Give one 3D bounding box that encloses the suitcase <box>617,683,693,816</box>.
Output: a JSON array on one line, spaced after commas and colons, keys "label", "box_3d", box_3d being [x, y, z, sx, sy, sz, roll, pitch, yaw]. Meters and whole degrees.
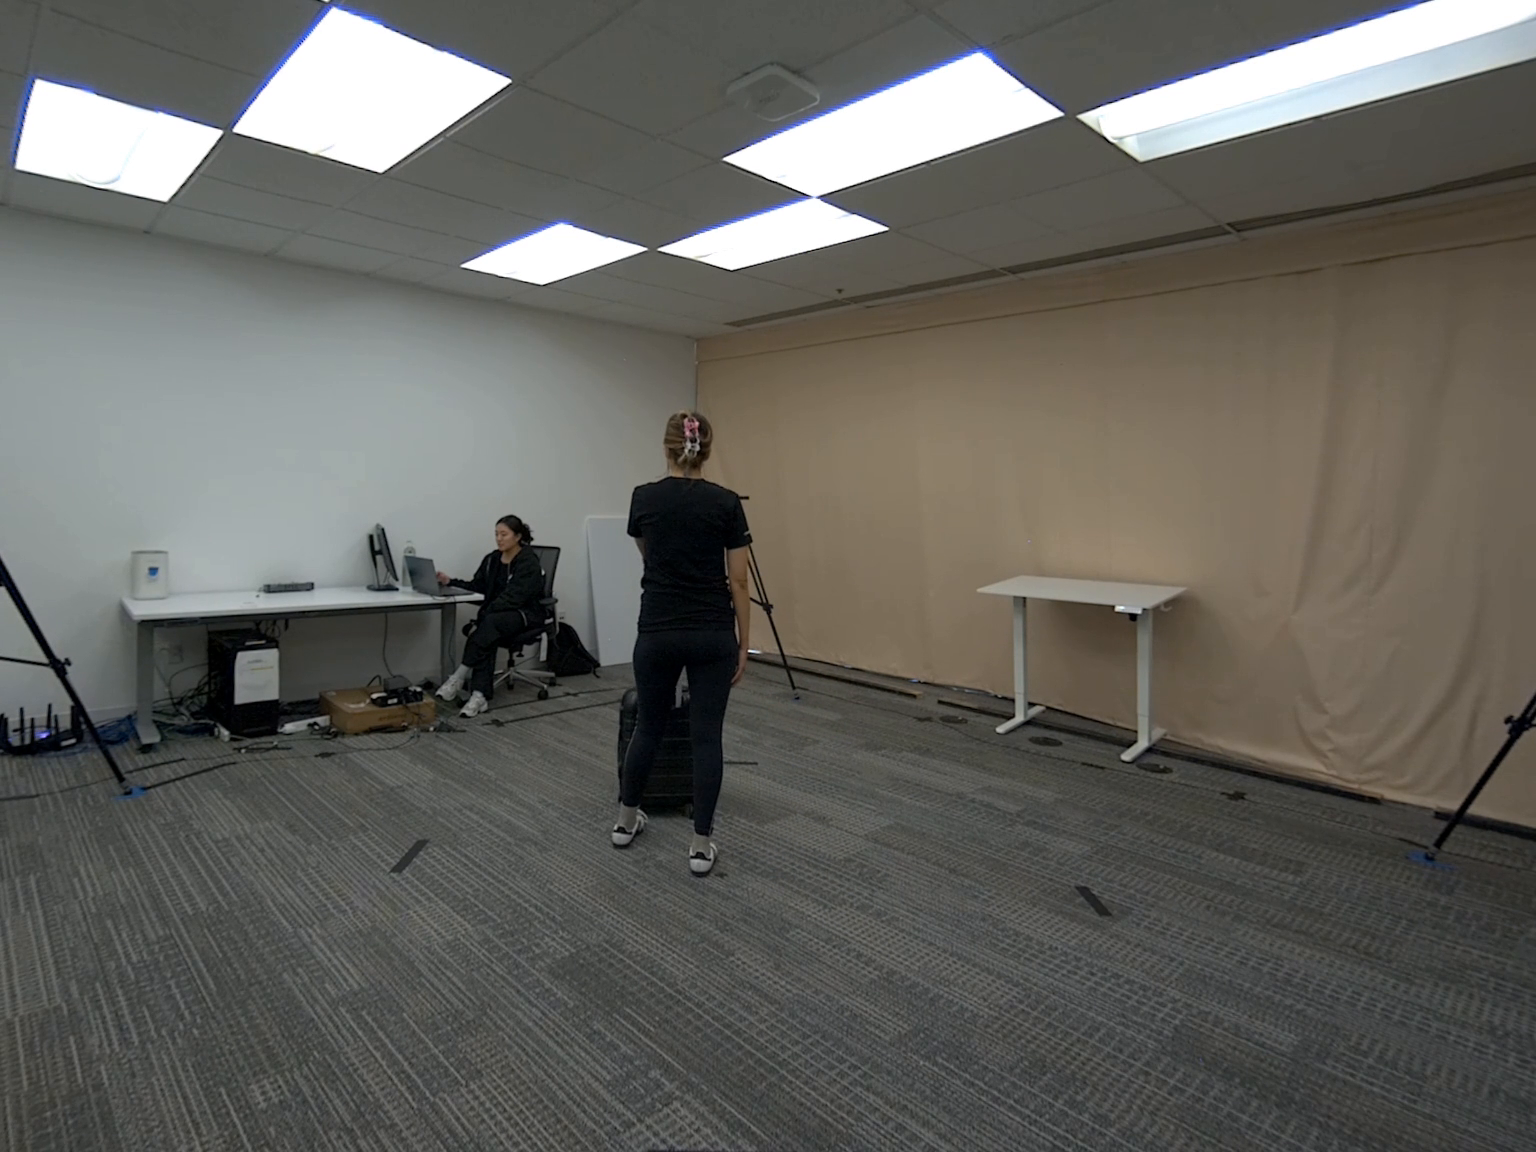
[{"label": "suitcase", "box_3d": [-0.481, 0.562, 3.745, 0.381, 0.978, 0.259, 1, 0, -8]}]
